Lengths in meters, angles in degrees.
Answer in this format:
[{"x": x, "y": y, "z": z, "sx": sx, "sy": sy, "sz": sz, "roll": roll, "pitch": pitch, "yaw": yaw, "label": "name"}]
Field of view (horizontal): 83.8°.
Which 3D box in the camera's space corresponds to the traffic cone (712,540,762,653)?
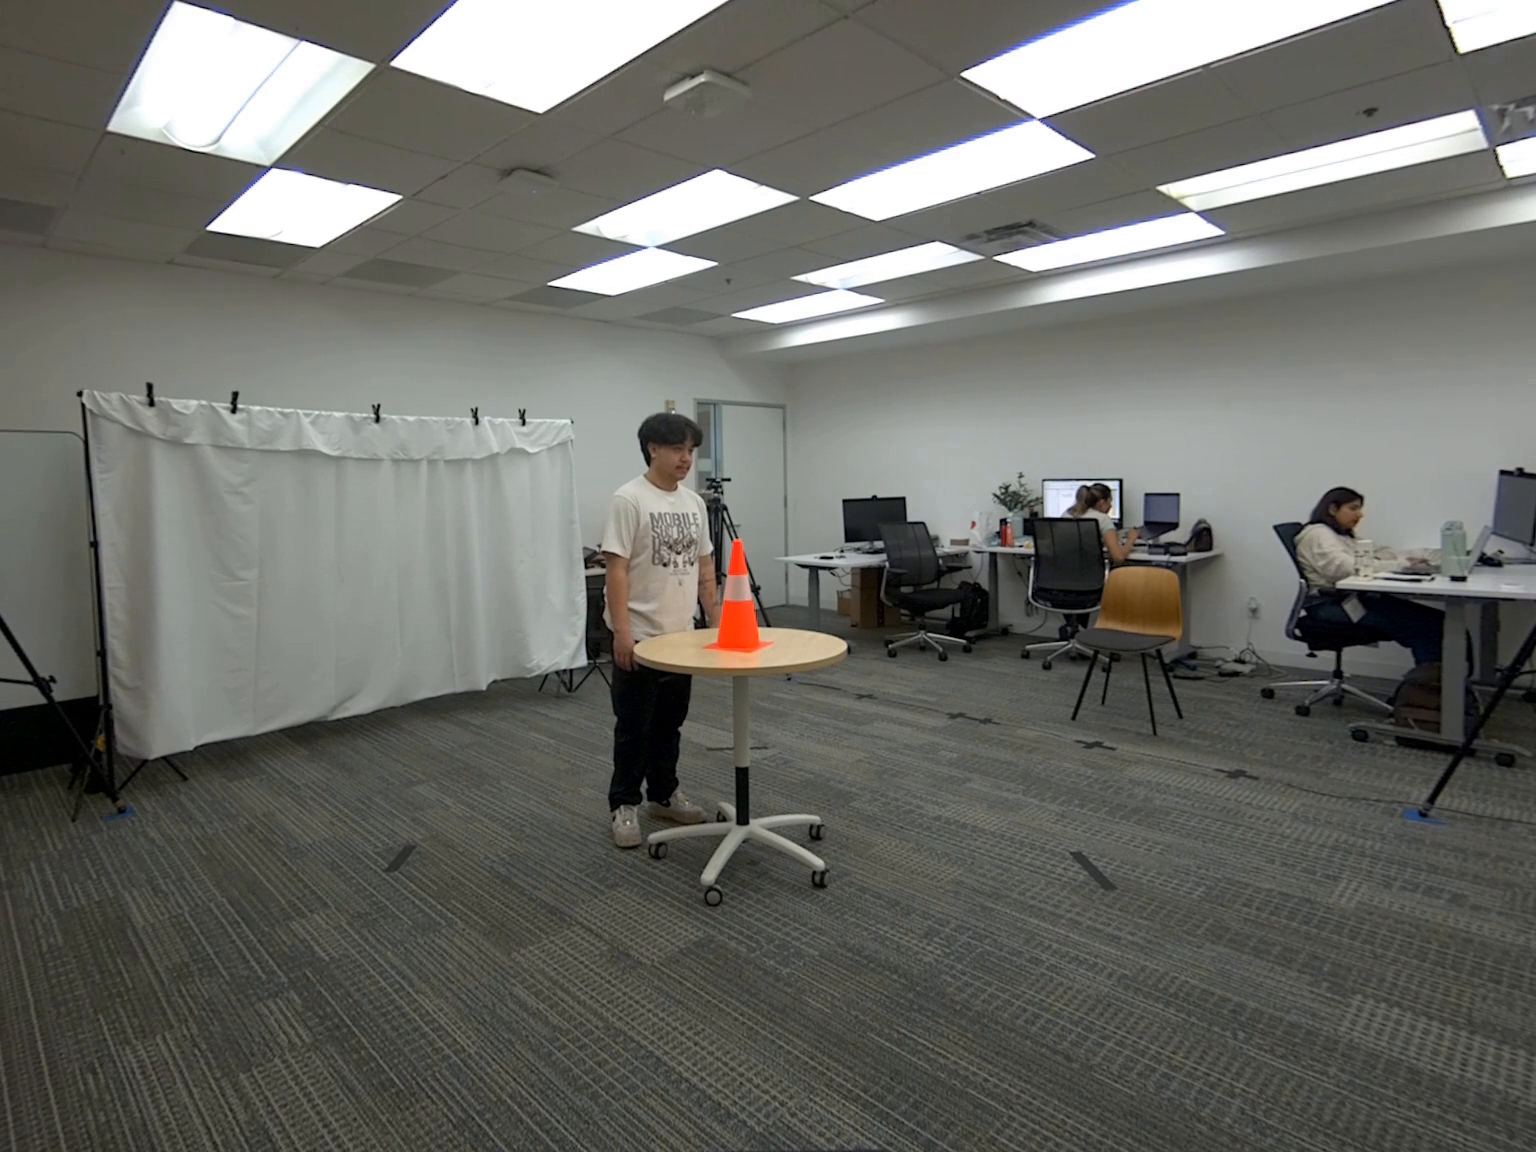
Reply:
[{"x": -0.110, "y": 0.064, "z": 3.056, "sx": 0.208, "sy": 0.382, "sz": 0.200, "roll": 1, "pitch": 4, "yaw": 30, "label": "traffic cone"}]
